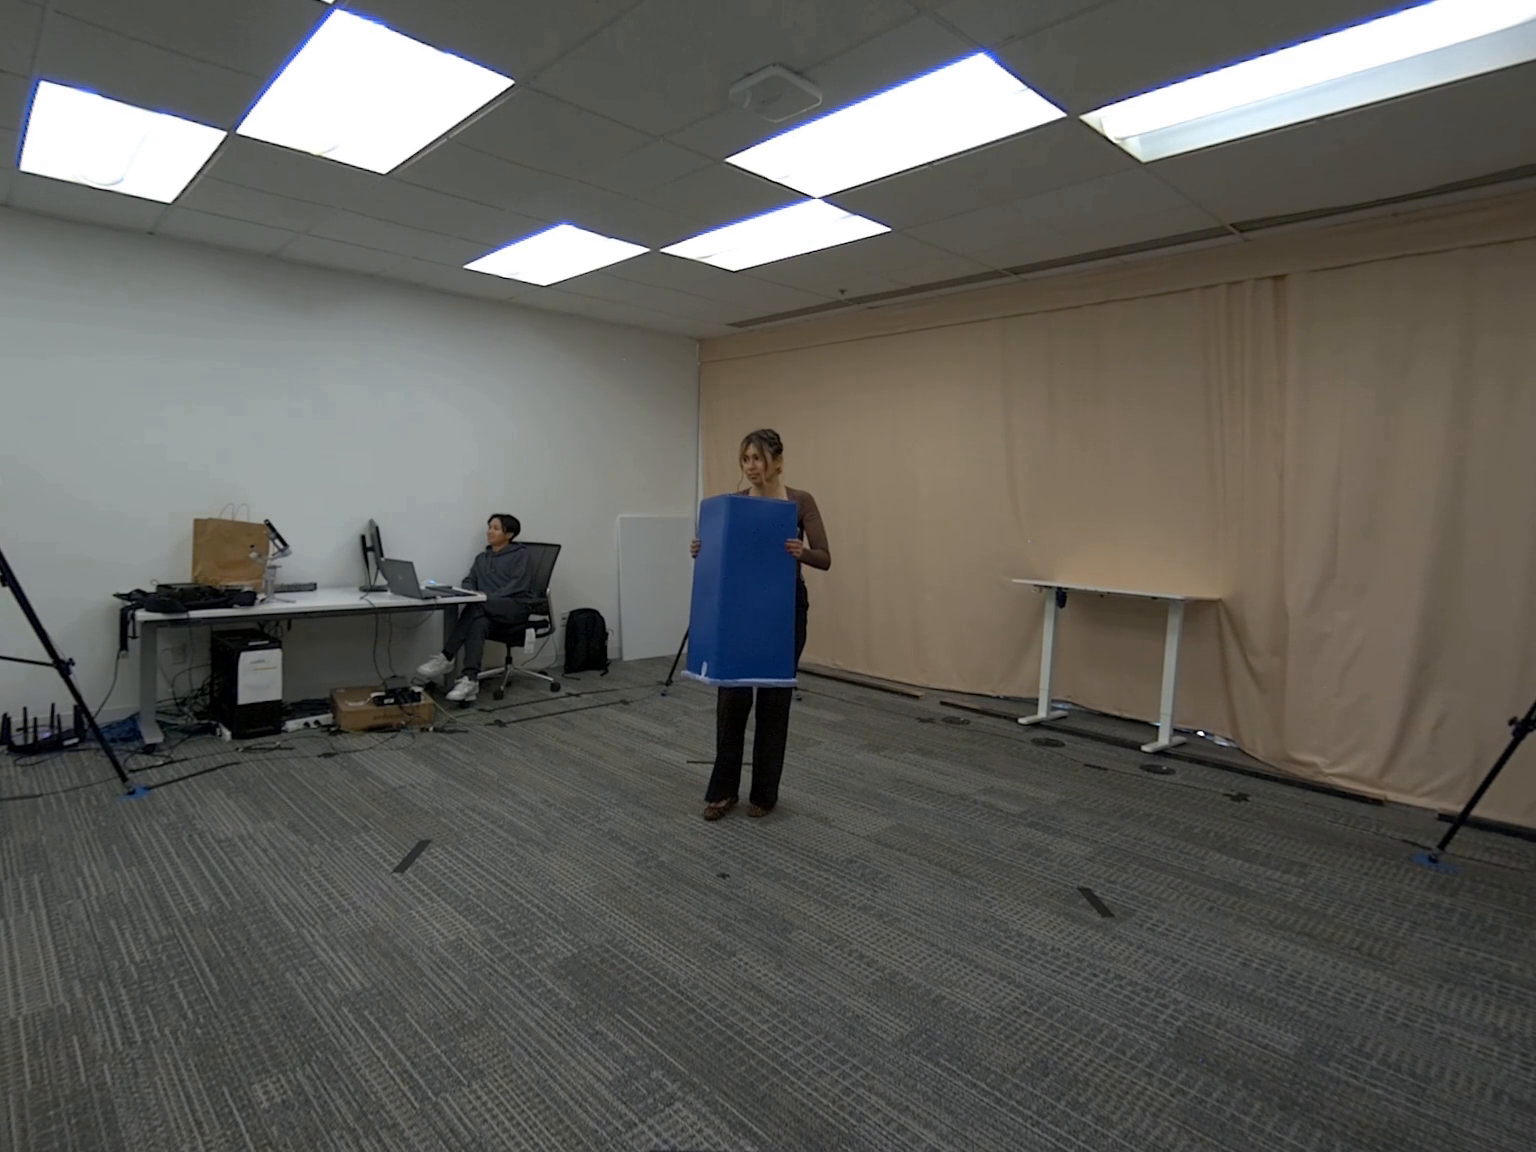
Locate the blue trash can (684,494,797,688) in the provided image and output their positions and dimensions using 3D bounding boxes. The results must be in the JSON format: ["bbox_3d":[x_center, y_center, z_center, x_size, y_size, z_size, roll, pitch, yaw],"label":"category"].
[{"bbox_3d":[-0.097,0.059,3.318,0.367,0.715,0.384,5,-3,-23],"label":"blue trash can"}]
